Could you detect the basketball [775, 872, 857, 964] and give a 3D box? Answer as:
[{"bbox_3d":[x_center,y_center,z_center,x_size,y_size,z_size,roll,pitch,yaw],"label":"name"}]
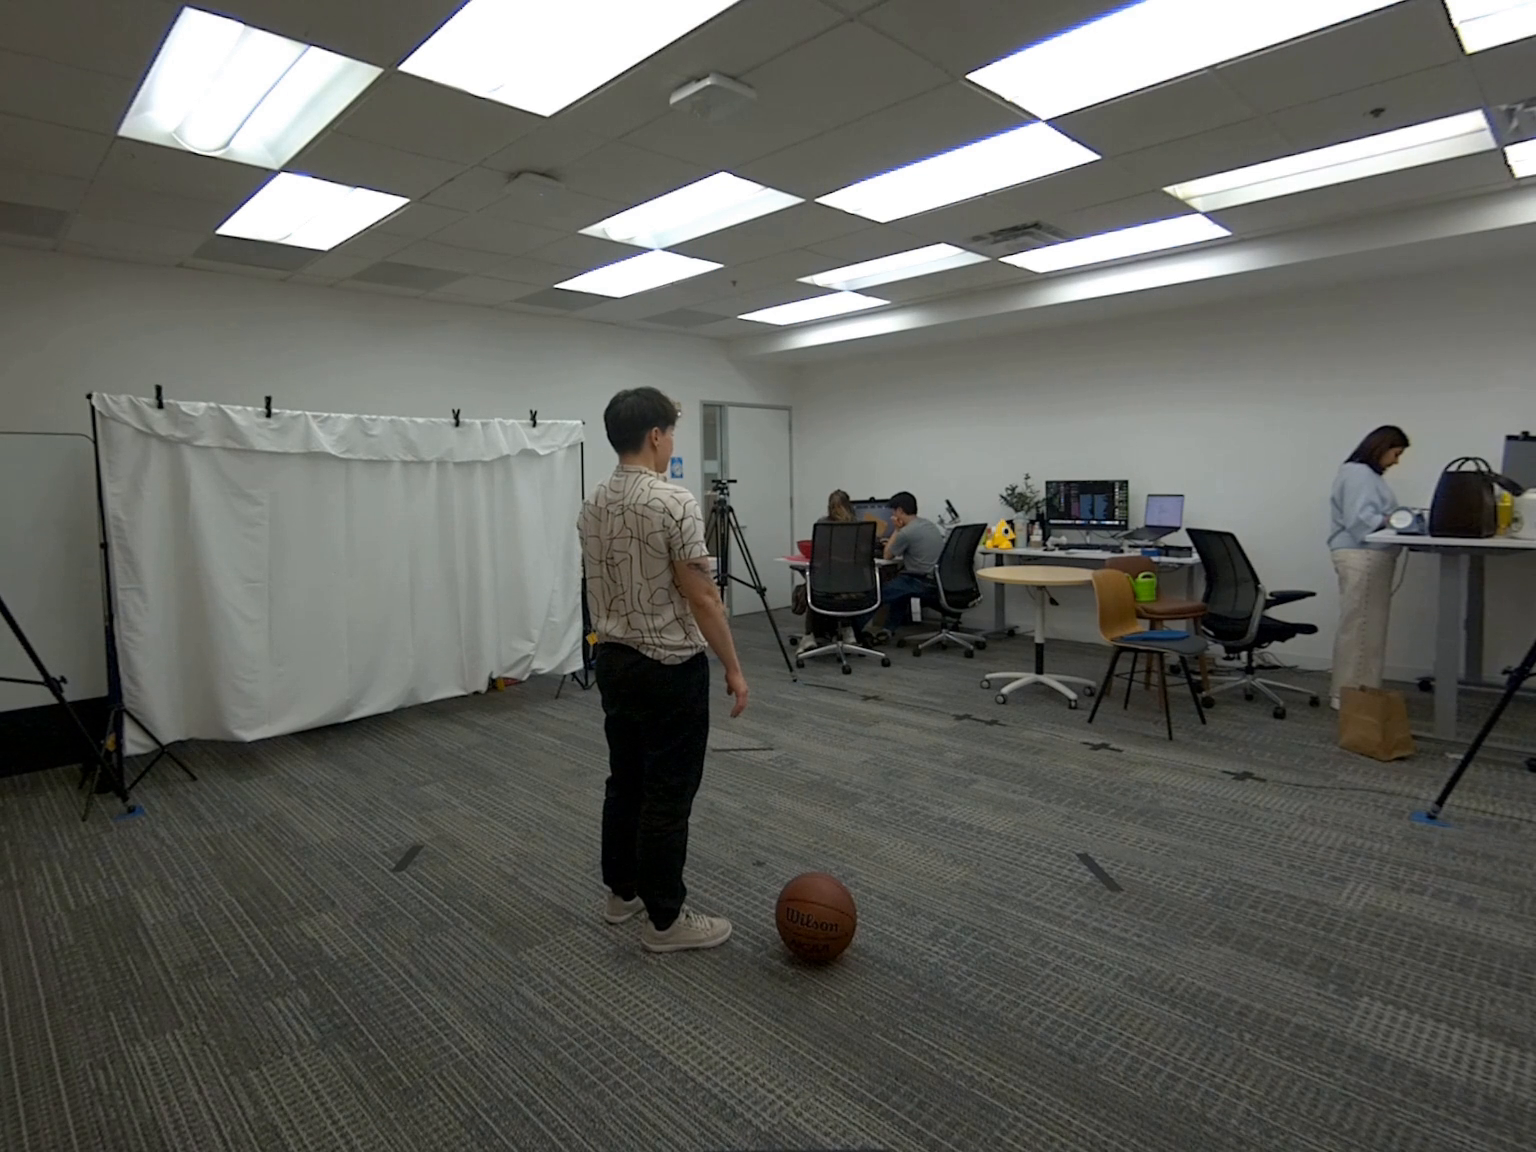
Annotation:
[{"bbox_3d":[0.142,0.990,2.506,0.236,0.235,0.237,-1,5,-2],"label":"basketball"}]
